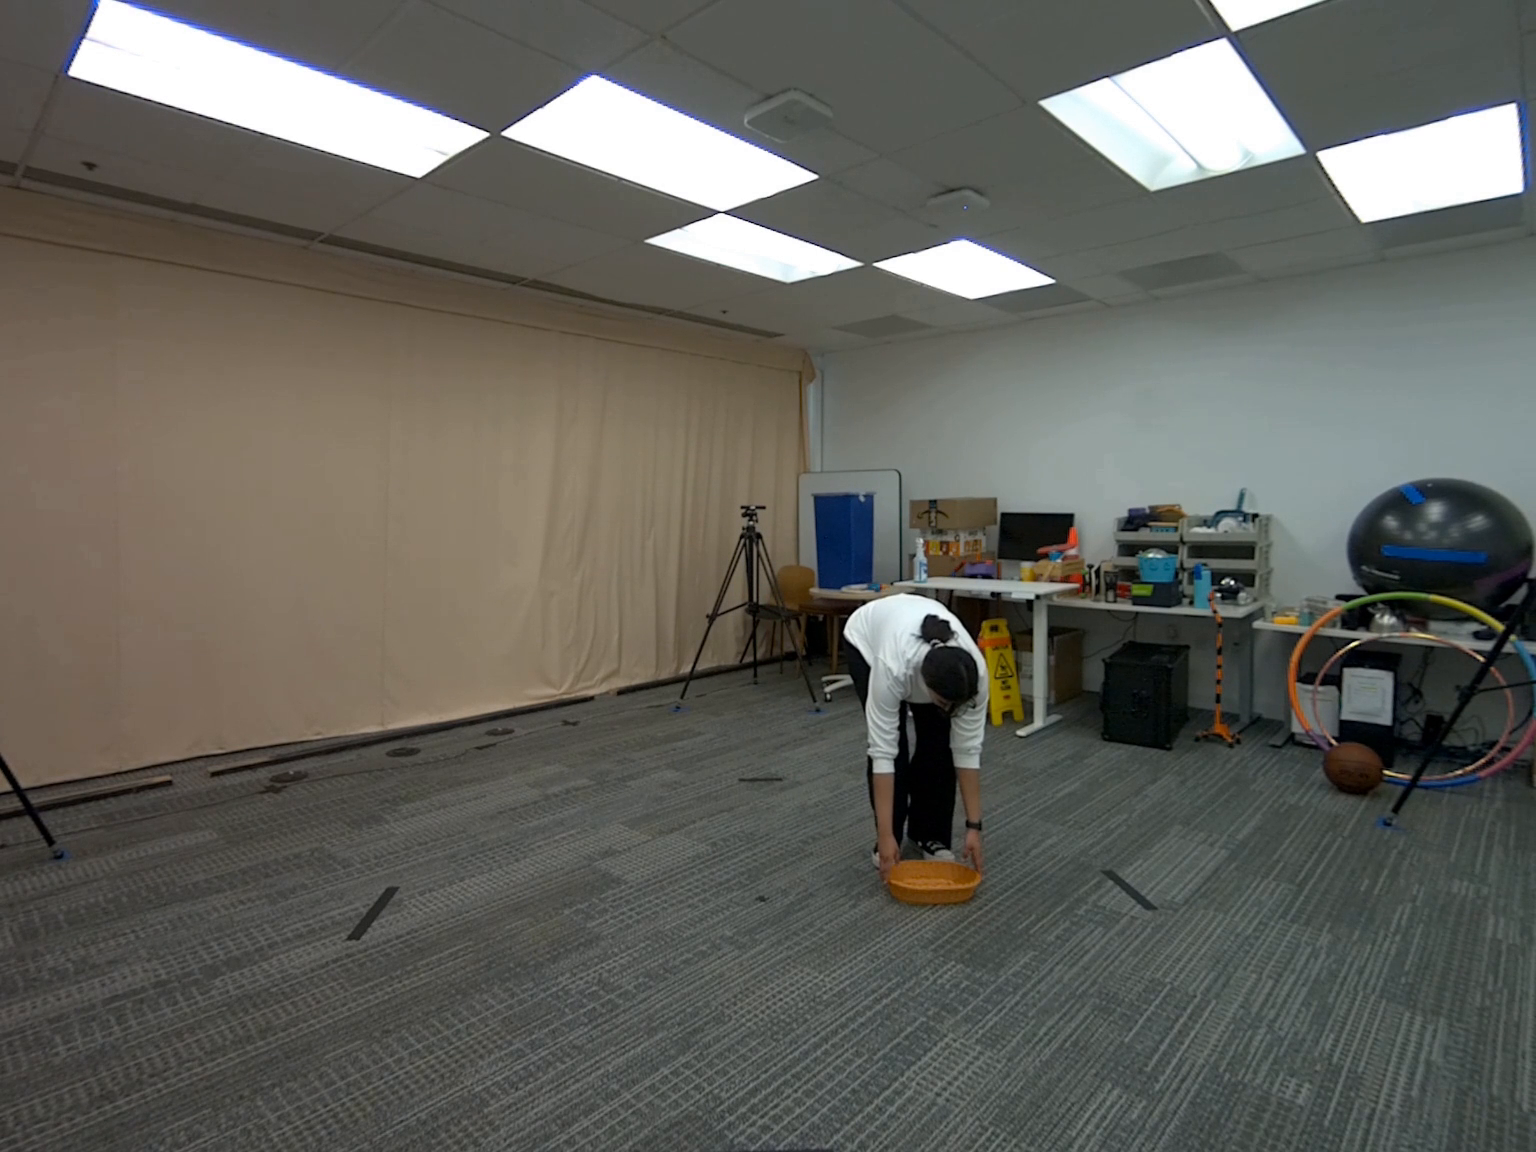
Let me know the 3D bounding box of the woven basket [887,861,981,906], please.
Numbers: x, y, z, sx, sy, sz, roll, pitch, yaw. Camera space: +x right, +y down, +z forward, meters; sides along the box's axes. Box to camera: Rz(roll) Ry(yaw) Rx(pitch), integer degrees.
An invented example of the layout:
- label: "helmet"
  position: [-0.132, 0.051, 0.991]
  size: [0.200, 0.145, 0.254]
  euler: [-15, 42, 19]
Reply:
- label: "woven basket"
  position: [0.589, 1.089, 3.020]
  size: [0.350, 0.073, 0.253]
  euler: [-1, 2, -1]
